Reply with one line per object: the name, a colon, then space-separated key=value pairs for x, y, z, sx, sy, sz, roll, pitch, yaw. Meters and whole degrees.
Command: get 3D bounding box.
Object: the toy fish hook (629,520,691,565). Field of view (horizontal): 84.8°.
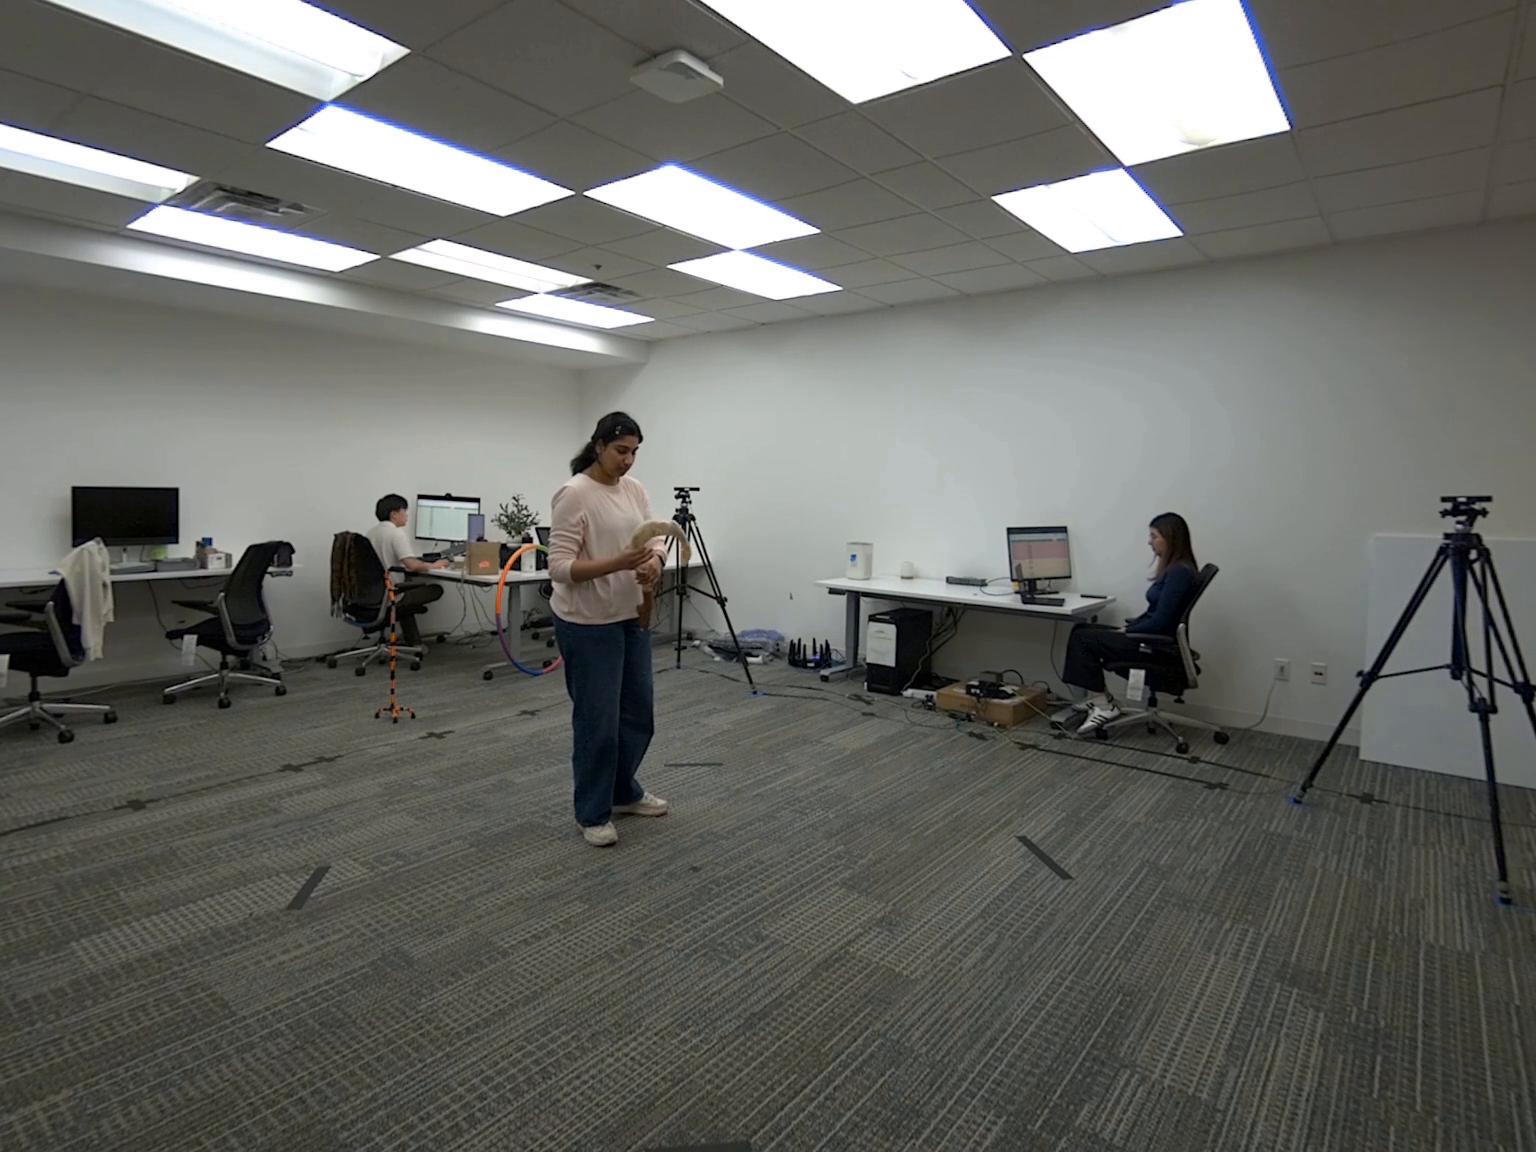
toy fish hook: x=-0.429 y=0.008 z=3.157 sx=0.225 sy=0.494 sz=0.049 roll=5 pitch=33 yaw=1
